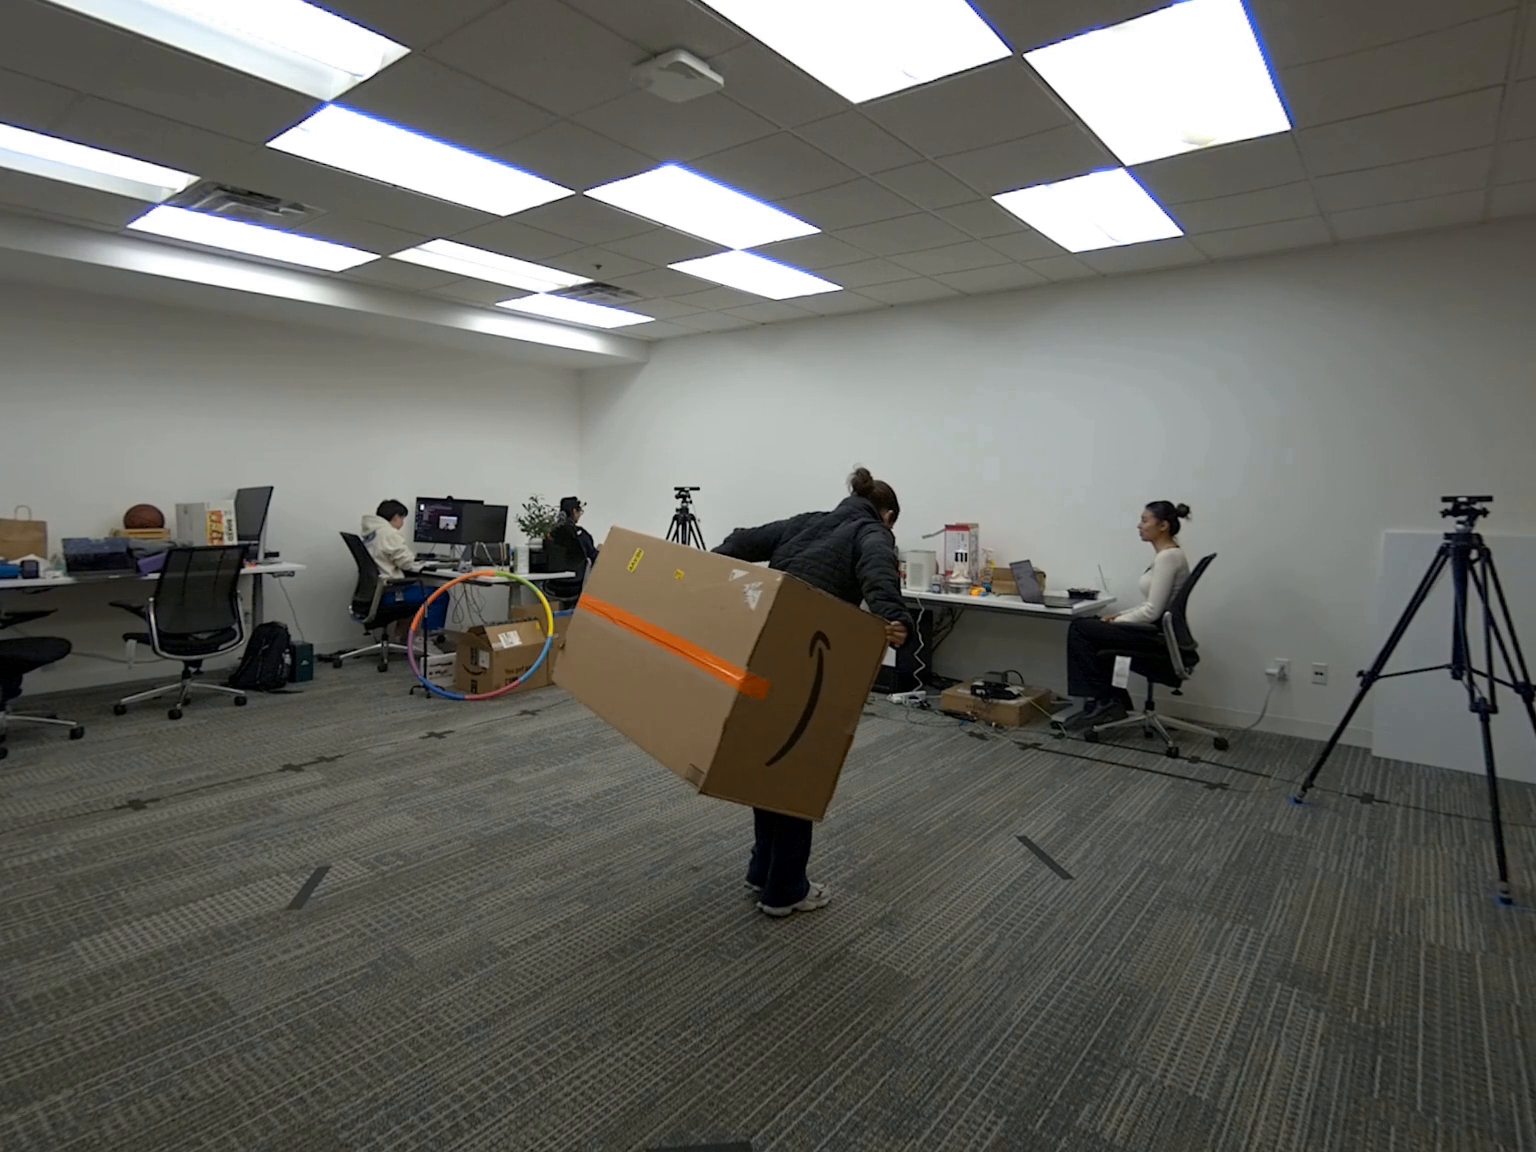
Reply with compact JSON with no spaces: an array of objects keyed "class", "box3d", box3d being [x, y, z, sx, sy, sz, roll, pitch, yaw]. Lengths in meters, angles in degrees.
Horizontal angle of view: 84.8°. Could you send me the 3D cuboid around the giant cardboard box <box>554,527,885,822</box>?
[{"class":"giant cardboard box","box3d":[-0.198,0.241,2.638,0.410,0.579,1.062,26,-5,-35]}]
